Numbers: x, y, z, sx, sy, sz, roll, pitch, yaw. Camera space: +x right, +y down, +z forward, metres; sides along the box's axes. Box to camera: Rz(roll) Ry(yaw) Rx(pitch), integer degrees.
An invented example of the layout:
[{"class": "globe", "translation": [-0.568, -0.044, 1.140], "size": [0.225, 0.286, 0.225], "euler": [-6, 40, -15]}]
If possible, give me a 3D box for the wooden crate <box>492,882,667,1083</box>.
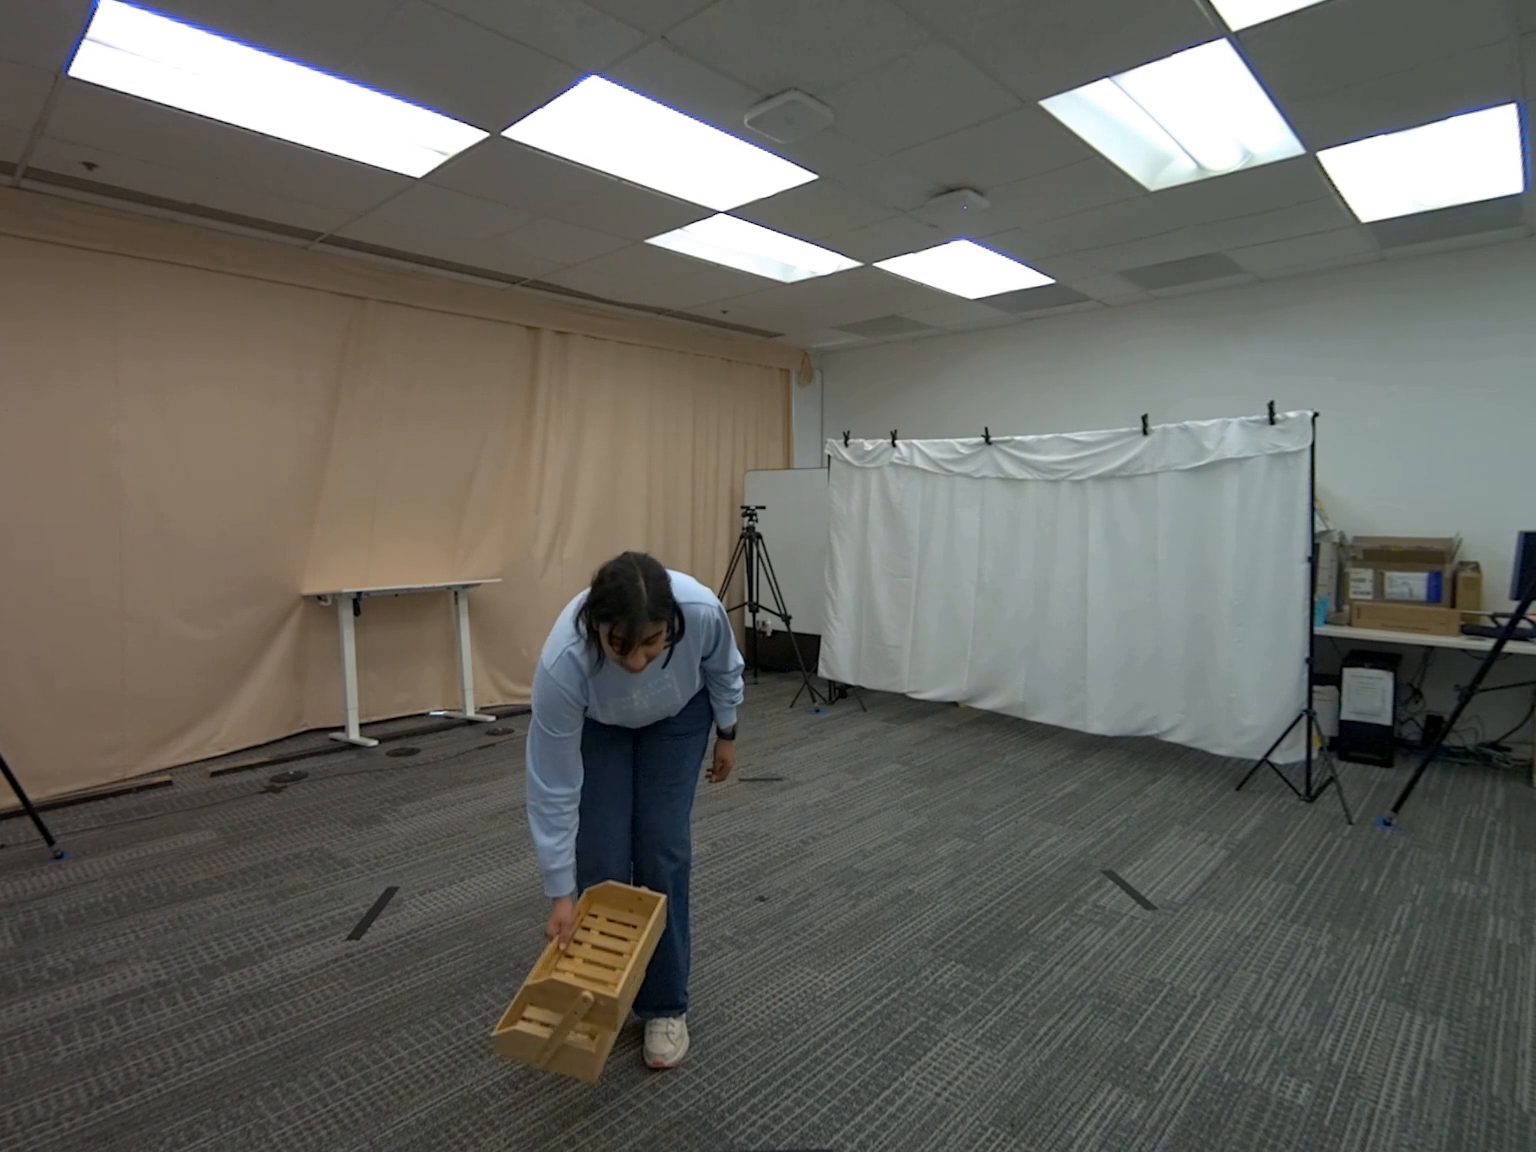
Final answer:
[{"class": "wooden crate", "translation": [-0.424, 0.887, 1.905], "size": [0.306, 0.270, 0.323], "euler": [7, 21, 11]}]
